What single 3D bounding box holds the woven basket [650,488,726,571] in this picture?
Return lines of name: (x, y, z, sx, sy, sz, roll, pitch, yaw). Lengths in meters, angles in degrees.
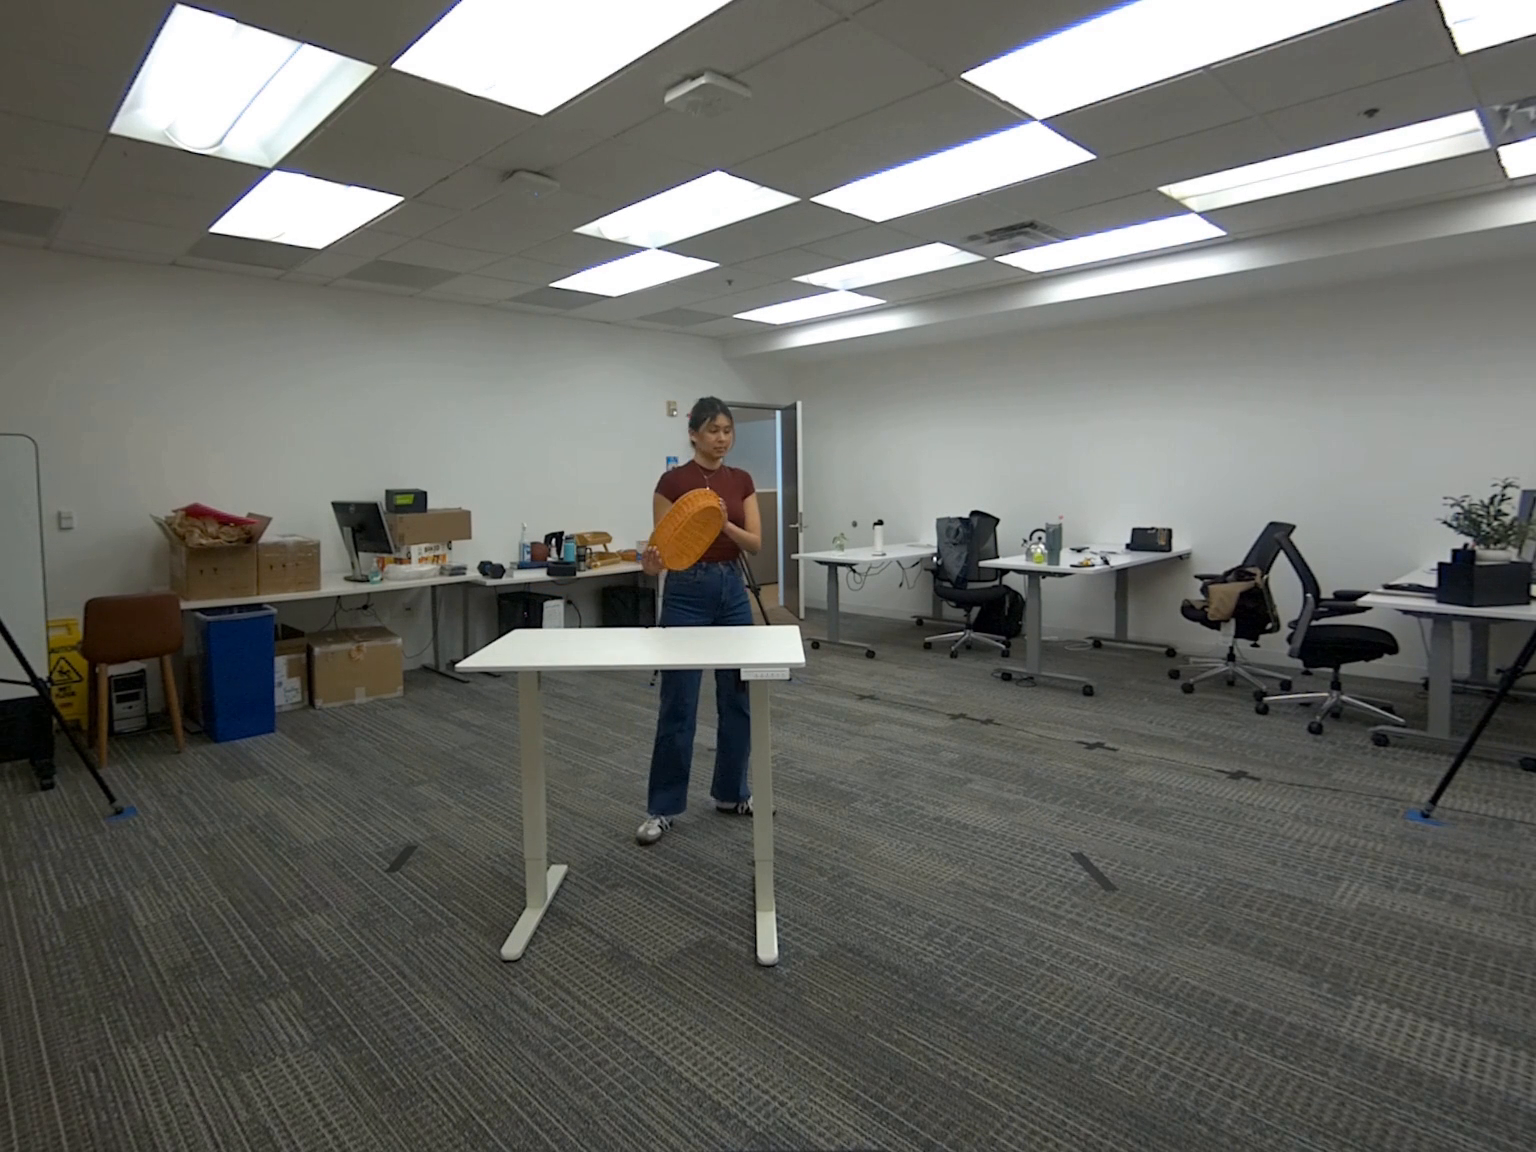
woven basket: (-0.288, -0.150, 3.102, 0.076, 0.350, 0.243, 41, 9, 38)
